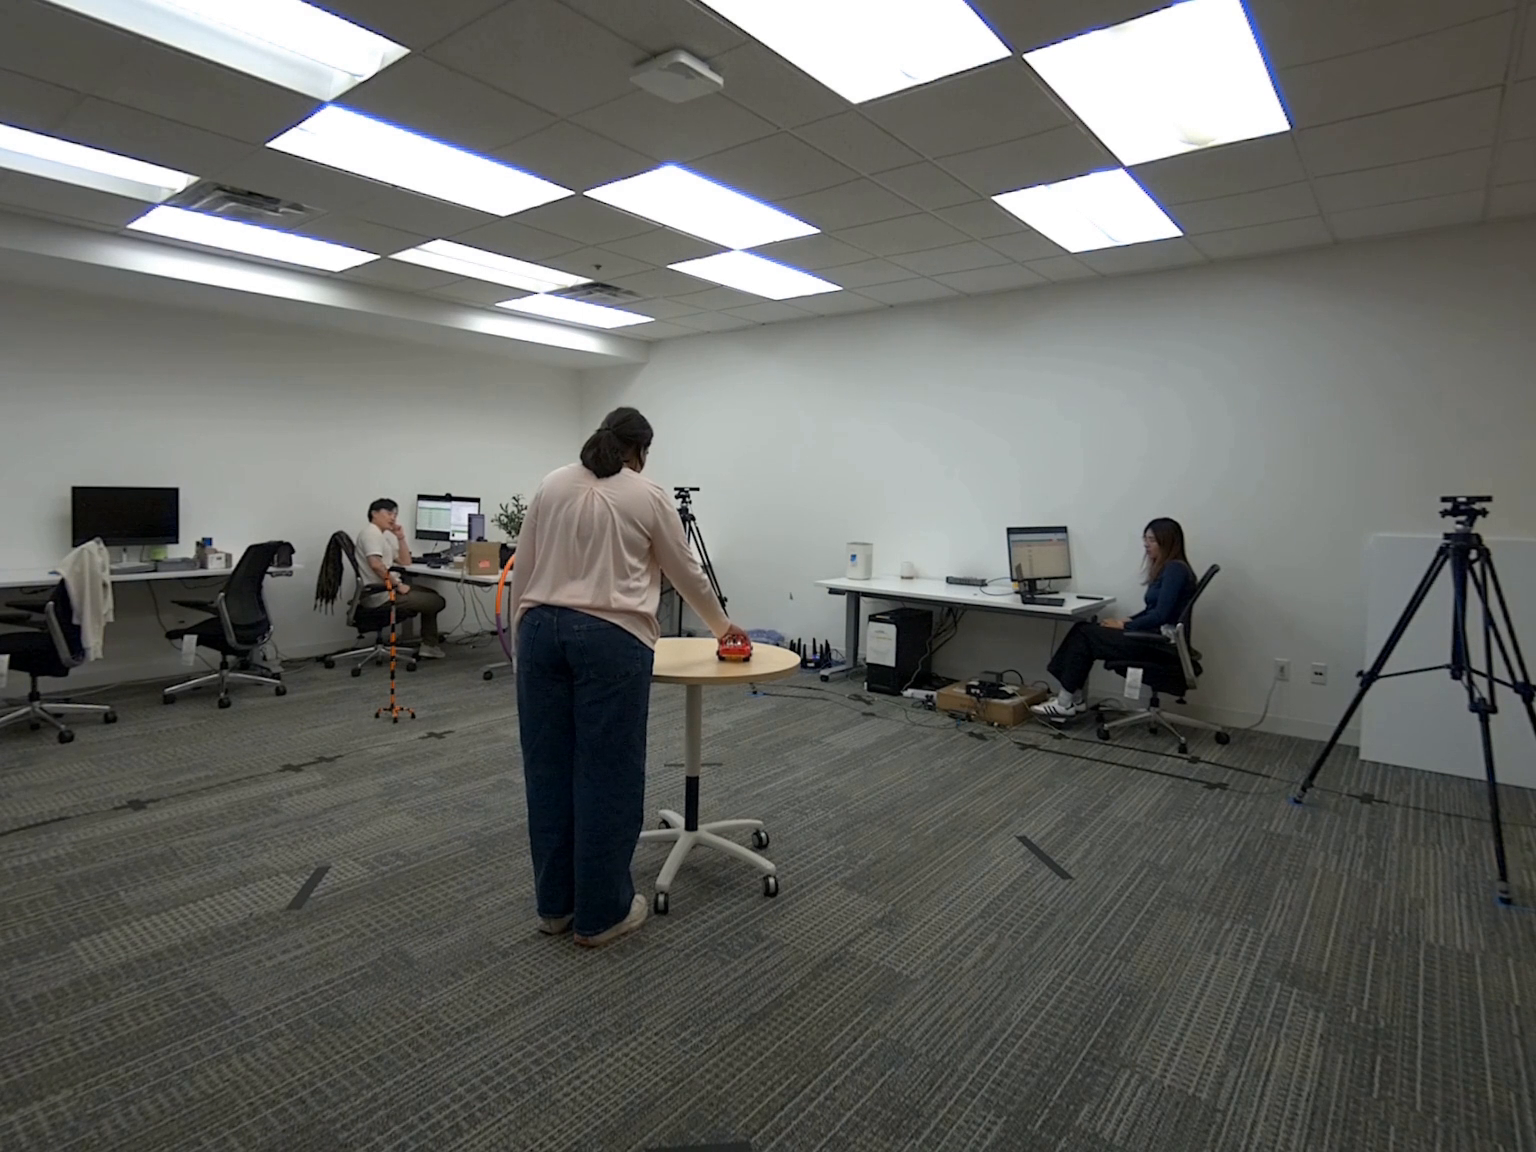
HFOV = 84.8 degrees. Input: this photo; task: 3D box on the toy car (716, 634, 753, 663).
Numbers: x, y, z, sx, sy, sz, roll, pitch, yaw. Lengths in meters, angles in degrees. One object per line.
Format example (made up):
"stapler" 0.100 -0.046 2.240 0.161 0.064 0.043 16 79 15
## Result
"toy car" -0.129 0.258 3.048 0.130 0.084 0.252 3 -8 -1
